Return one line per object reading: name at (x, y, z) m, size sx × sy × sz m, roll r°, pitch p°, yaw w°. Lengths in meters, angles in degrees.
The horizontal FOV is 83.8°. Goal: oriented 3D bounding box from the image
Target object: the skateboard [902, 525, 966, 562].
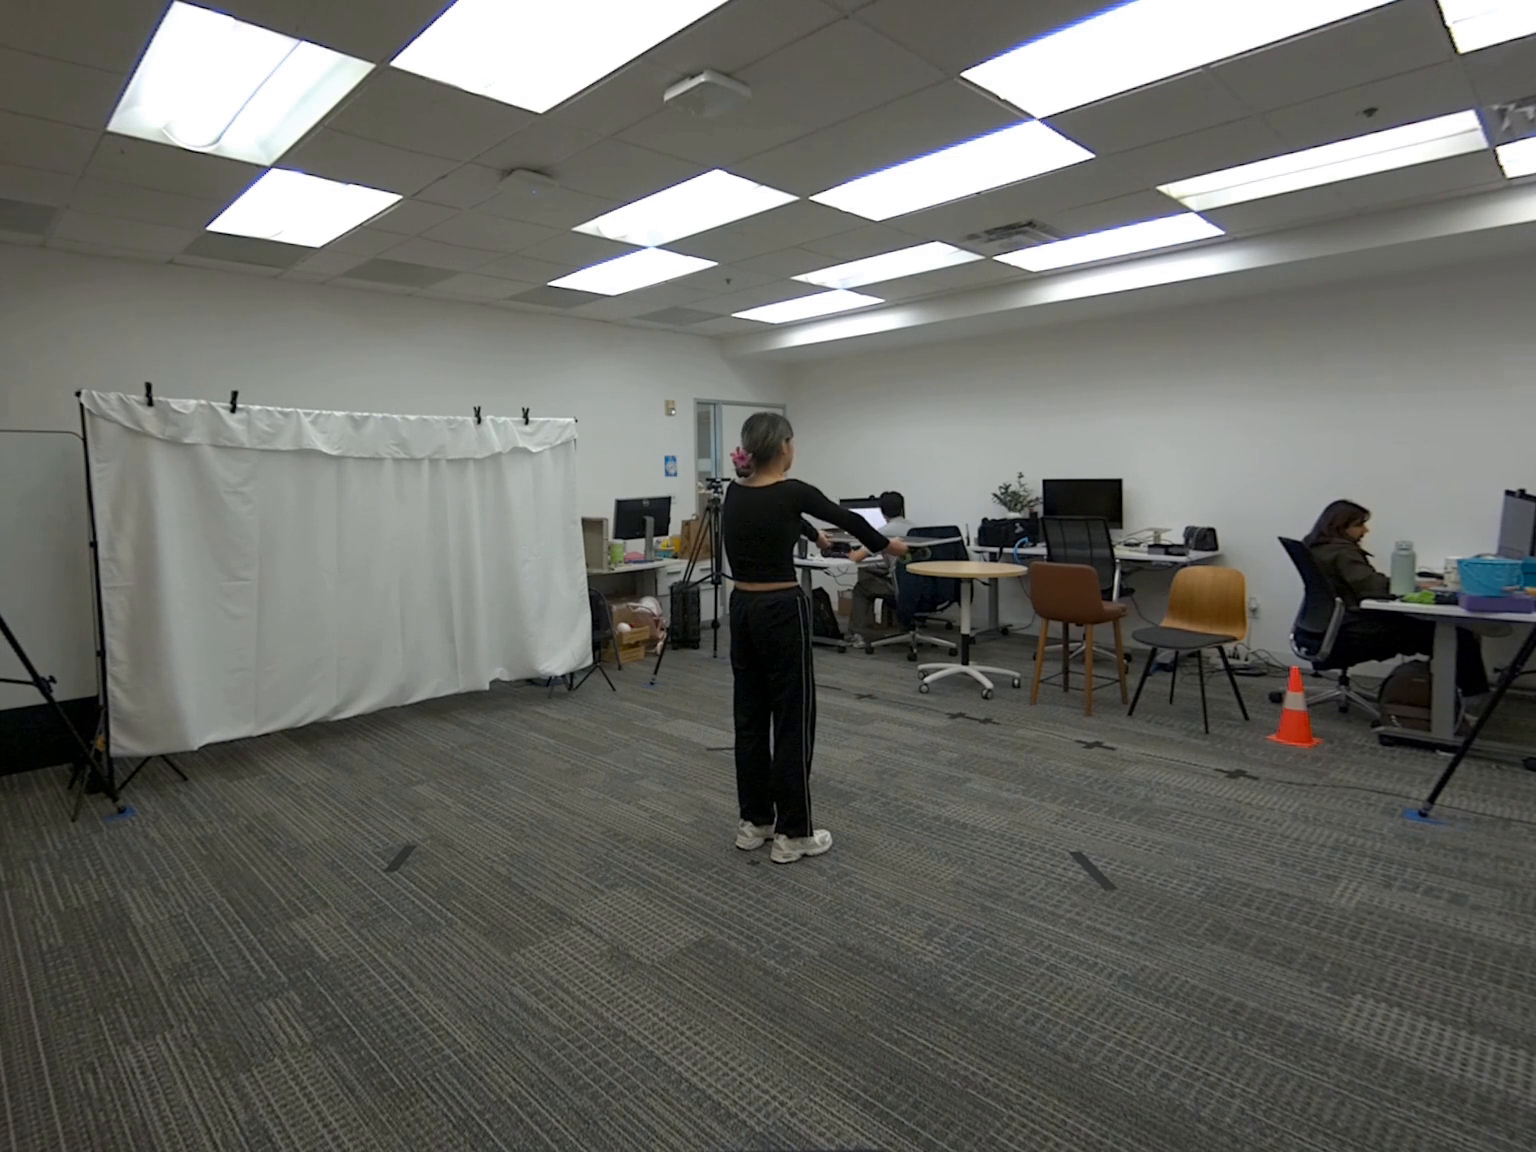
skateboard at (0.463, -0.125, 3.637) m, size 0.810 × 0.110 × 0.188 m, roll 5°, pitch 9°, yaw 44°
